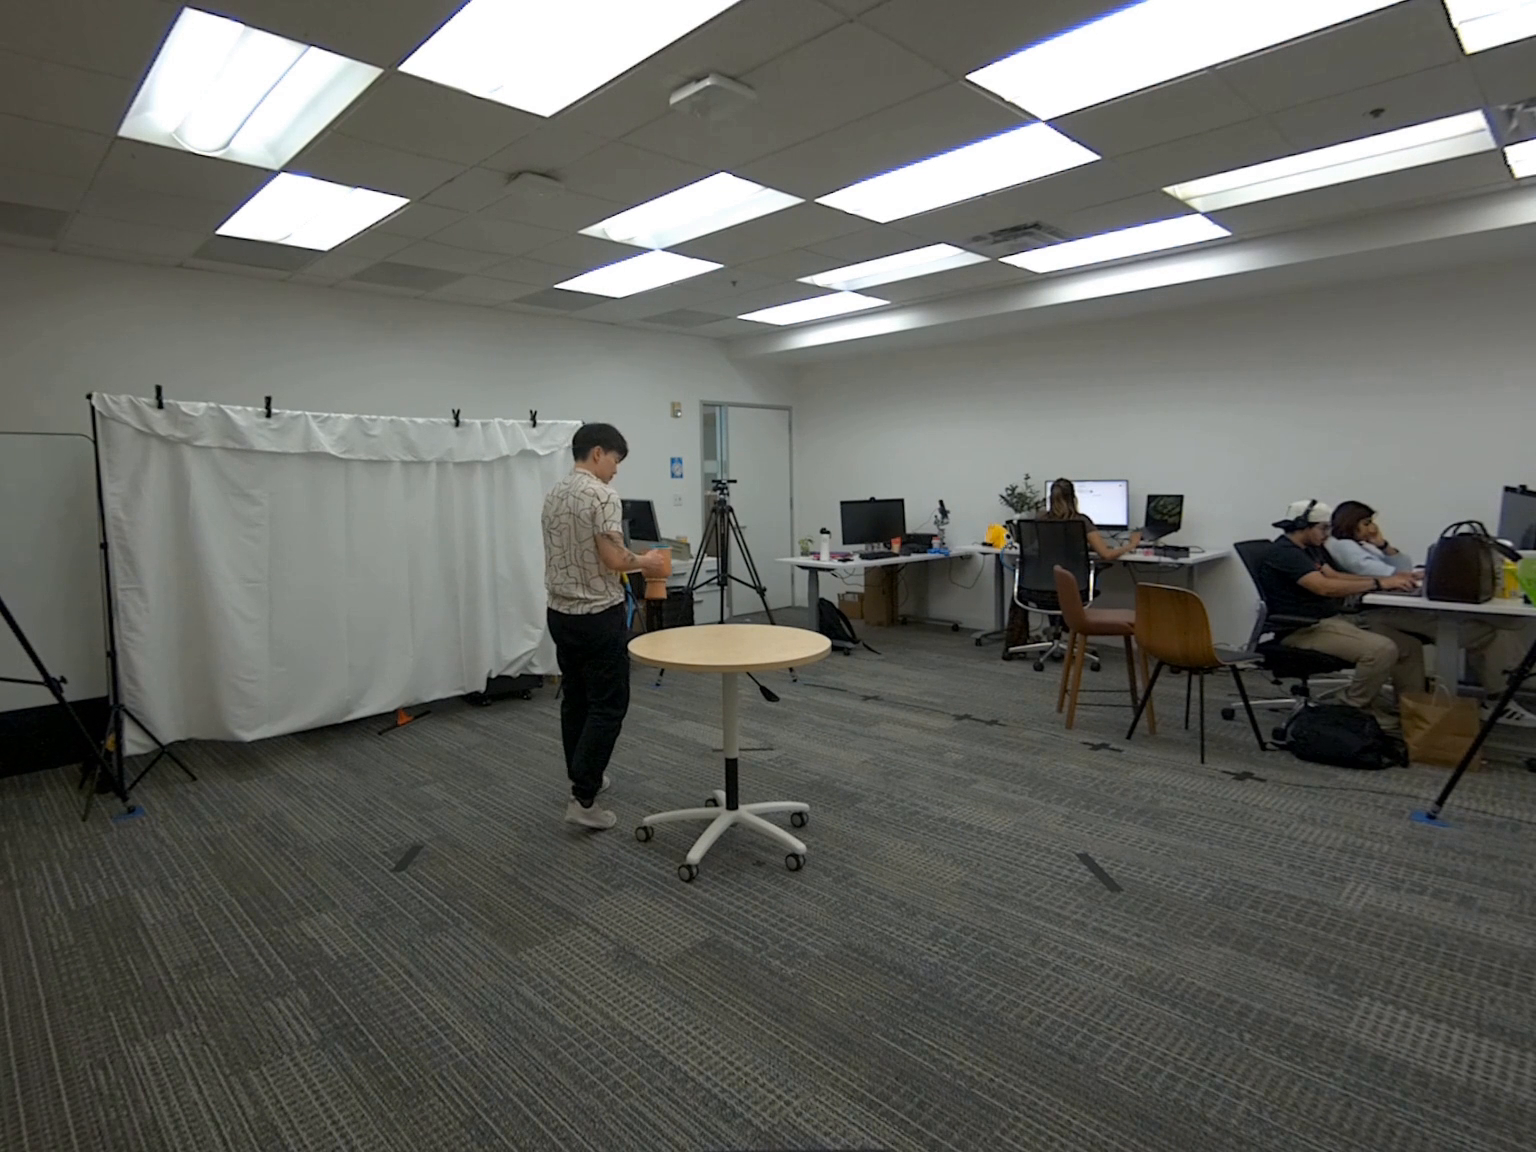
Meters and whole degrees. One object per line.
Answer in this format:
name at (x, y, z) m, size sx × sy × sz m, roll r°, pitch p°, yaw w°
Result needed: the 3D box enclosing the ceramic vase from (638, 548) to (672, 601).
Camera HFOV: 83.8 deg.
ceramic vase at (-0.509, -0.009, 3.822) m, size 0.138 × 0.221 × 0.154 m, roll -3°, pitch -7°, yaw 32°
